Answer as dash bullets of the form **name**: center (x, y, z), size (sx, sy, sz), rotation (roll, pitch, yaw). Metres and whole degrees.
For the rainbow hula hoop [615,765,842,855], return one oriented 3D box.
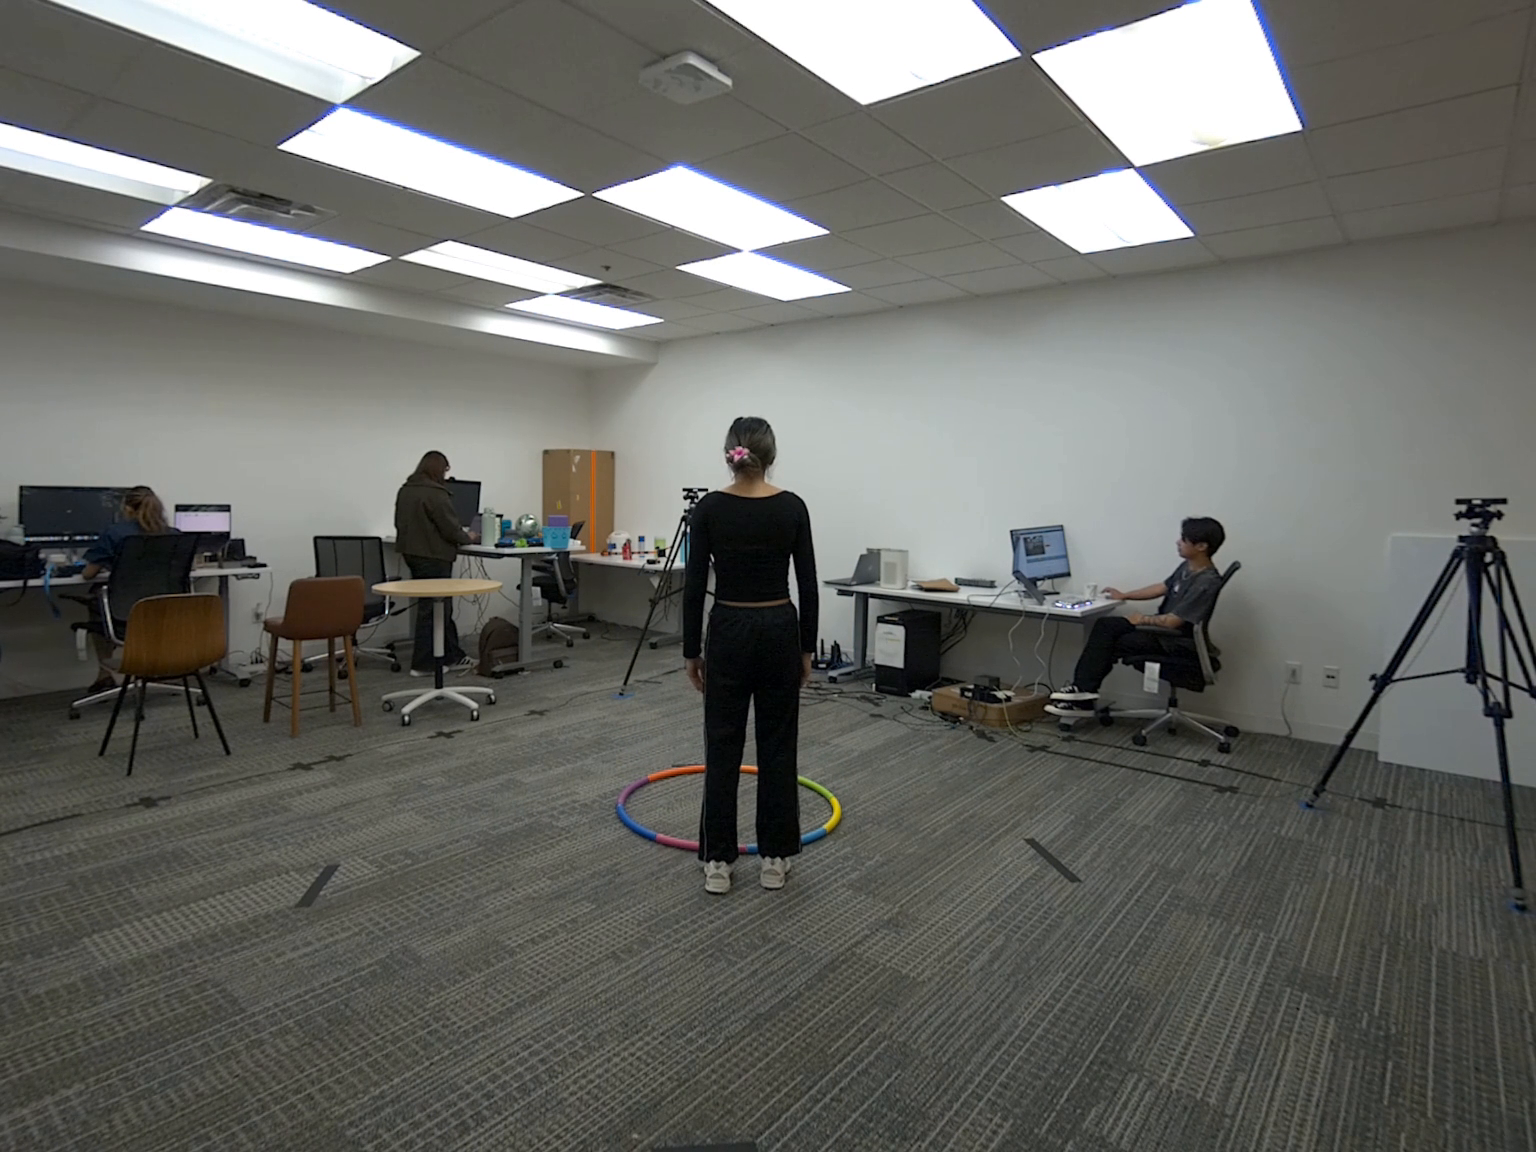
- **rainbow hula hoop**: center (-0.186, 0.984, 3.725), size (0.978, 0.035, 0.984), rotation (1, 6, -2)
